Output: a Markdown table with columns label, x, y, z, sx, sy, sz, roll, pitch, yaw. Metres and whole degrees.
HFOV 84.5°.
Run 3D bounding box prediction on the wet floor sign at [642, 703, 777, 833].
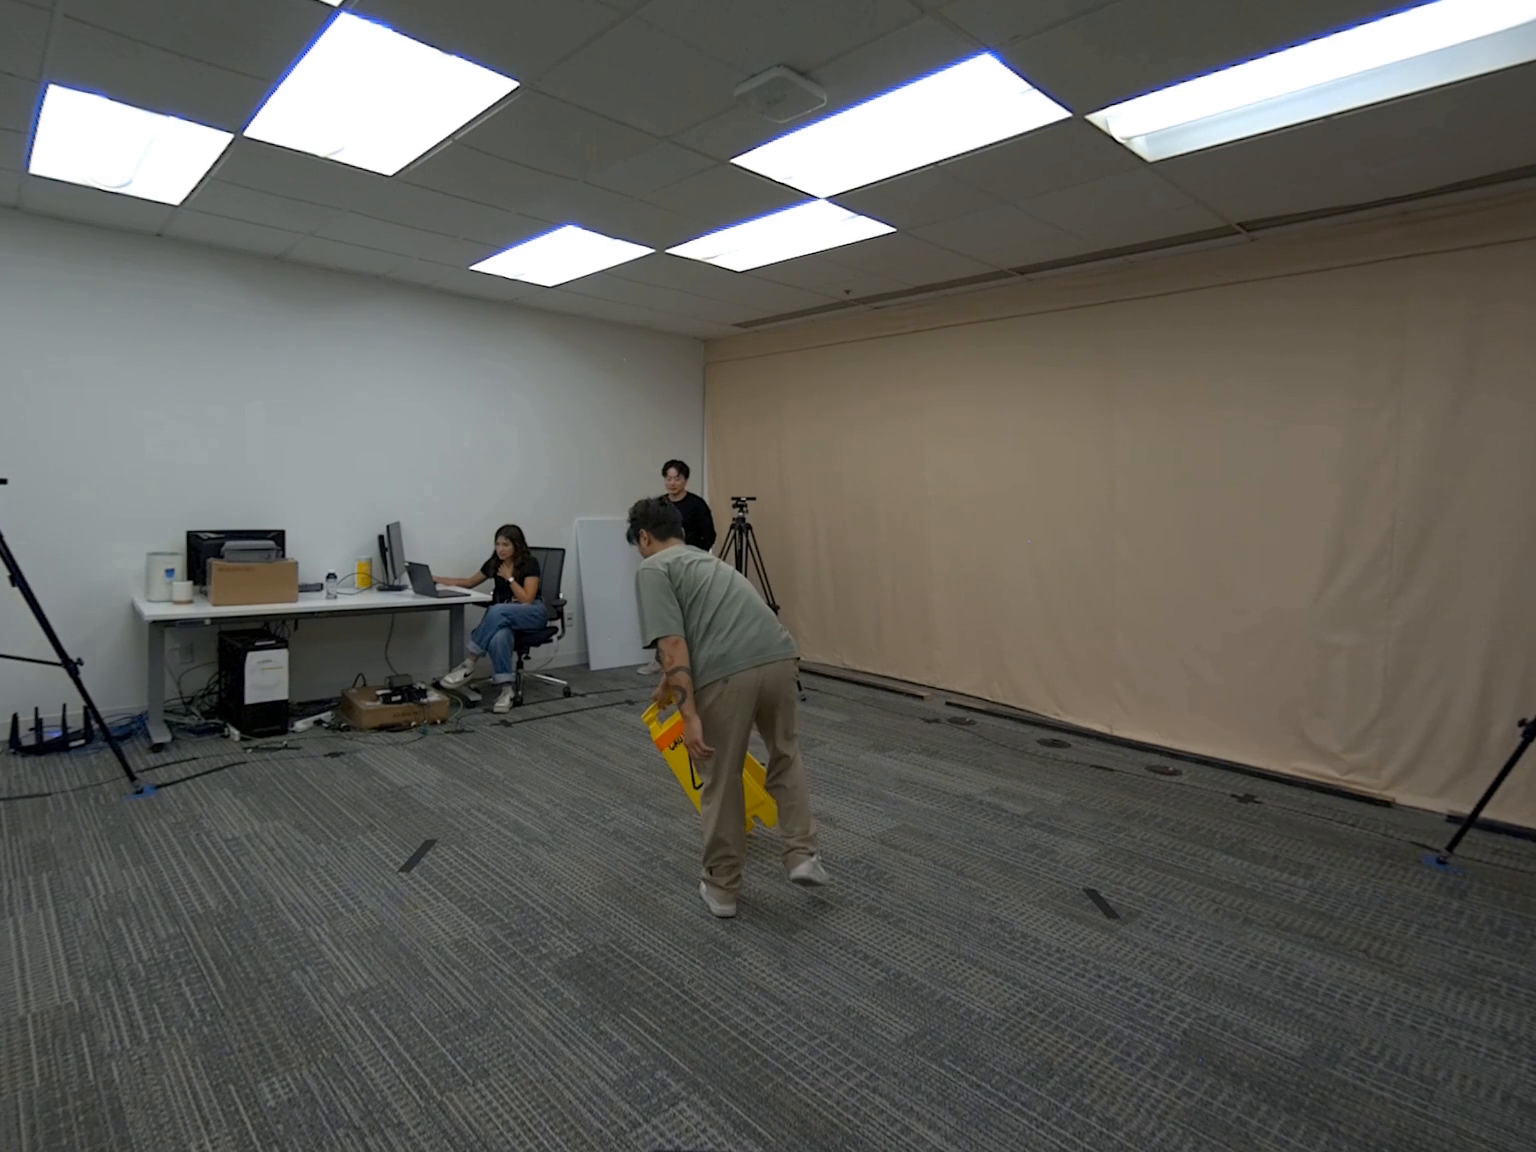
| label | x | y | z | sx | sy | sz | roll | pitch | yaw |
| --- | --- | --- | --- | --- | --- | --- | --- | --- | --- |
| wet floor sign | -0.240 | 0.754 | 3.390 | 0.283 | 0.650 | 0.287 | -39 | -6 | 12 |
